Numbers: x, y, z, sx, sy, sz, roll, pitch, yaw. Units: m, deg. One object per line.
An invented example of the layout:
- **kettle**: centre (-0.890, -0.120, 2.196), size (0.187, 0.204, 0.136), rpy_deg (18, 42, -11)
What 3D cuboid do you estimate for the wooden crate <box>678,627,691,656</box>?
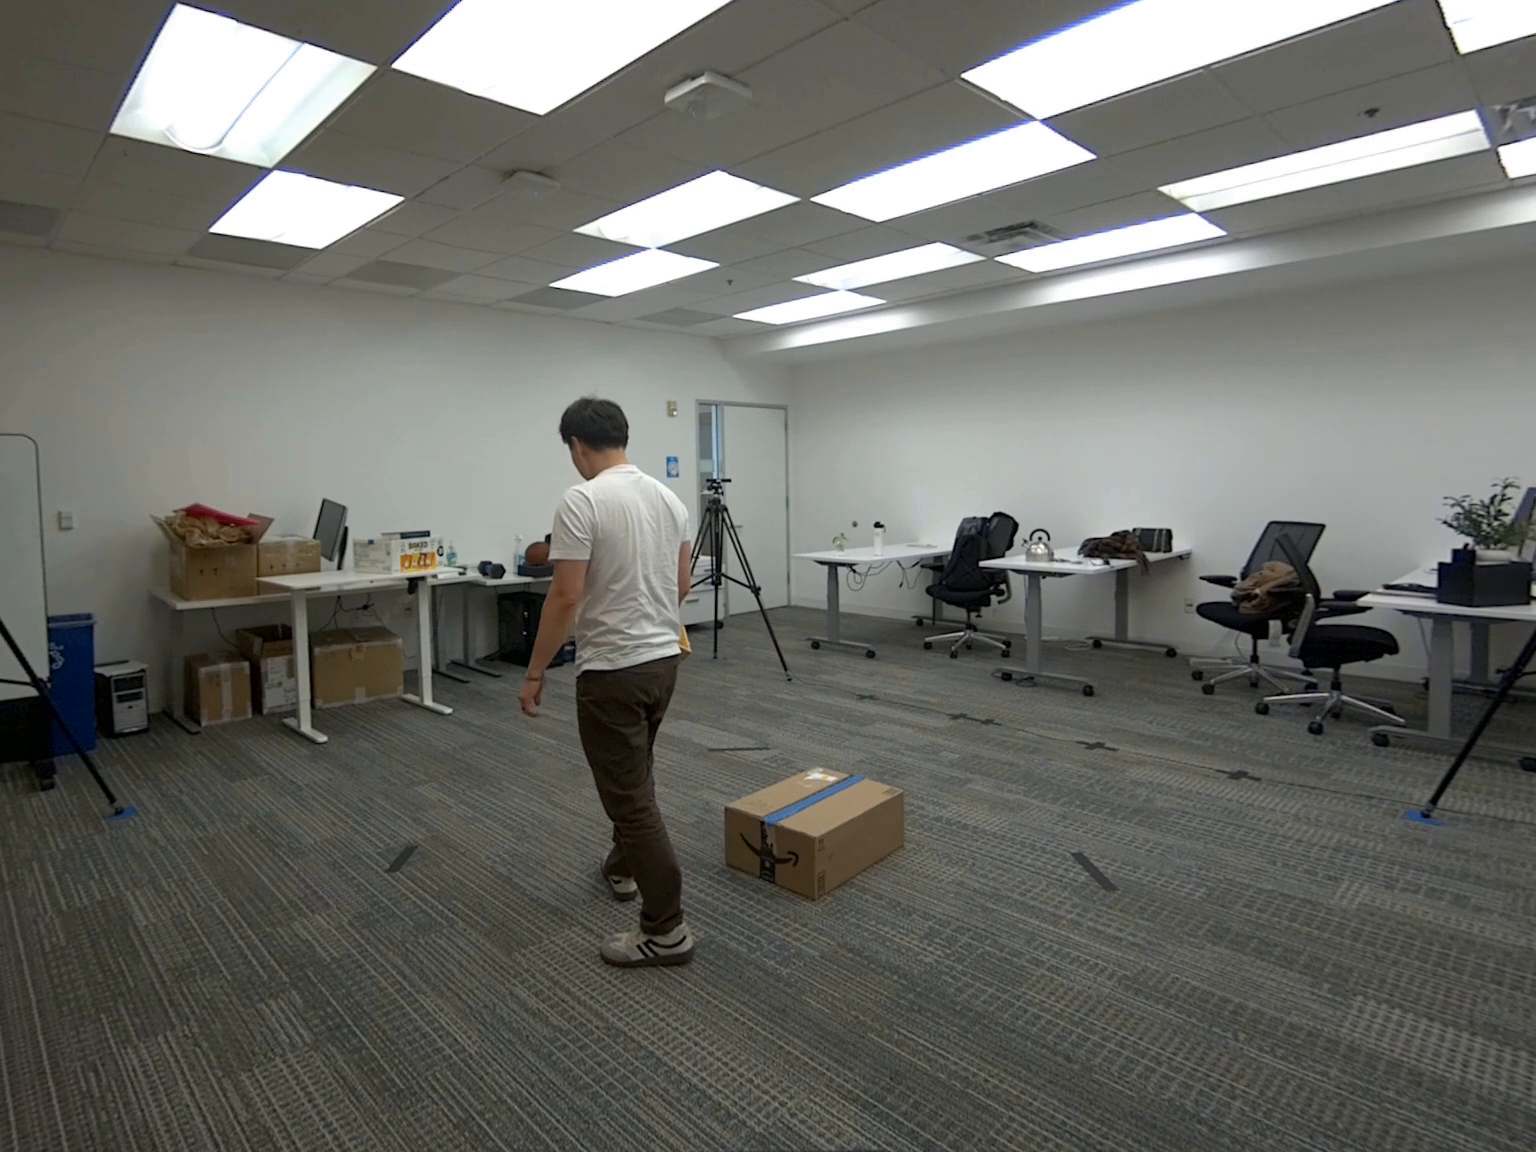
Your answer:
- **wooden crate**: centre (-0.497, 0.206, 3.174), size (0.313, 0.273, 0.313), rpy_deg (32, 21, -33)
